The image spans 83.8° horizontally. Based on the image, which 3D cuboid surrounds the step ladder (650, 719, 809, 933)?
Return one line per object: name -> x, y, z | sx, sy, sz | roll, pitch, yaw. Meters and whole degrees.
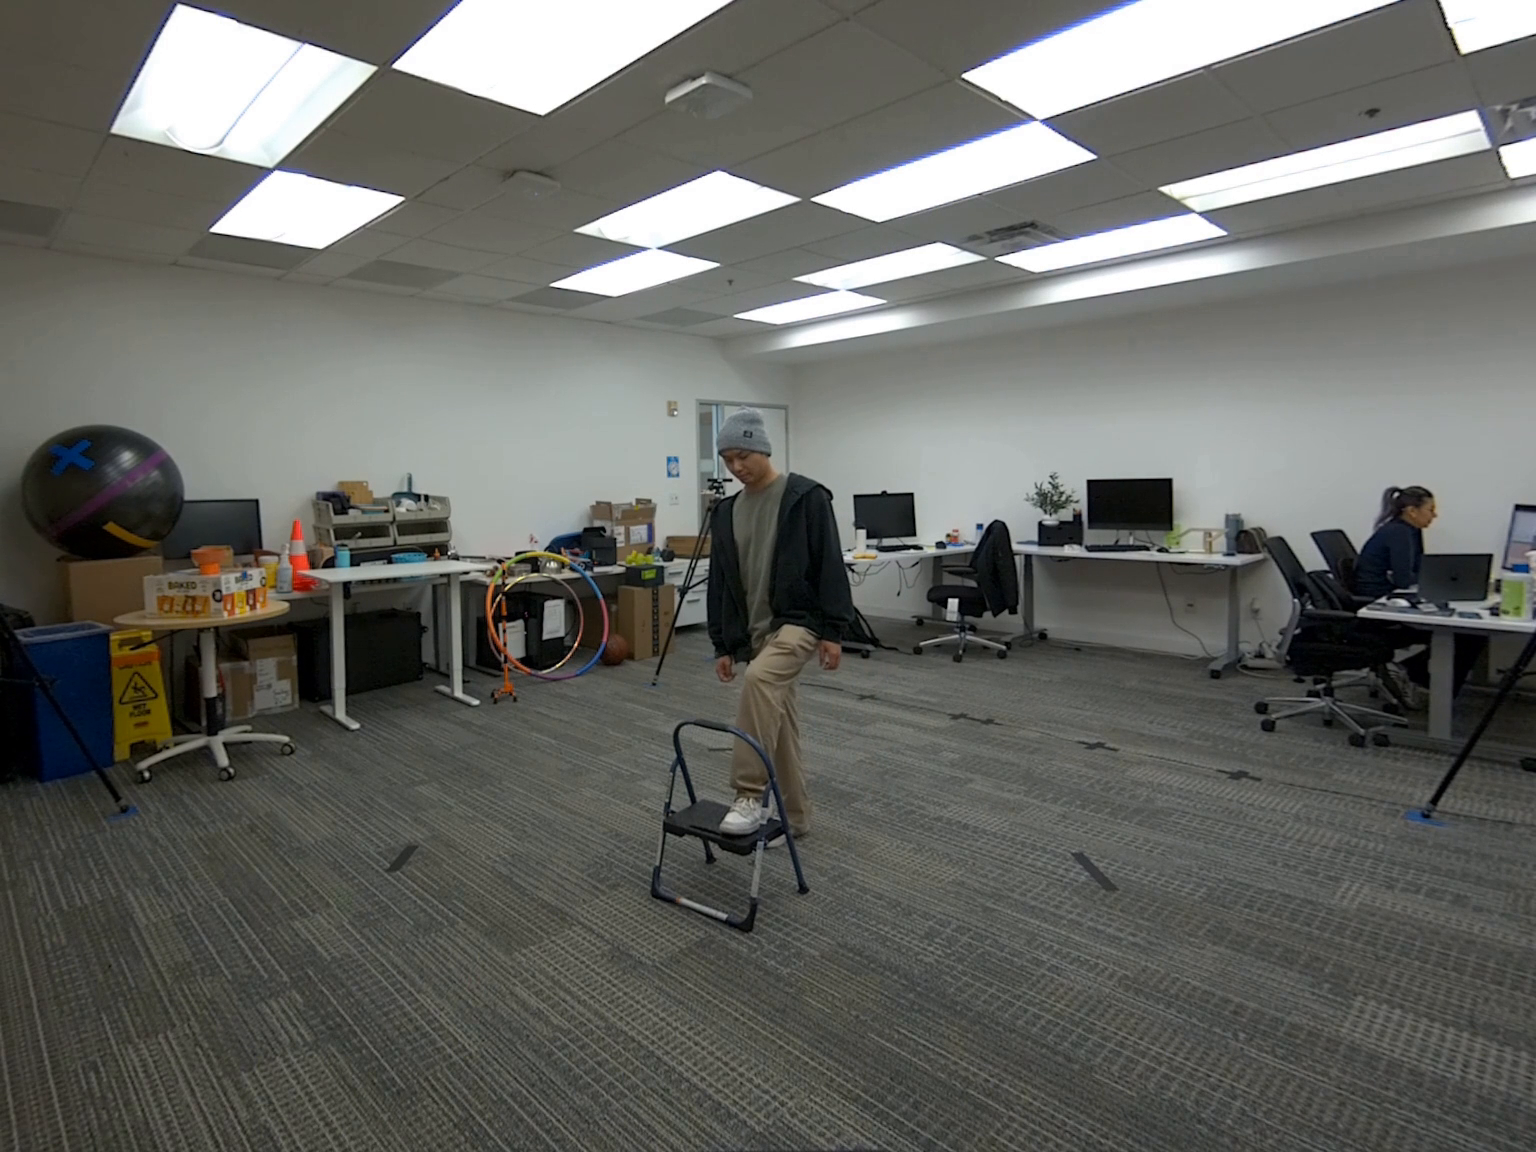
step ladder -> -0.137, 0.772, 2.865 | 0.443, 0.603, 0.341 | 2, 6, 35
